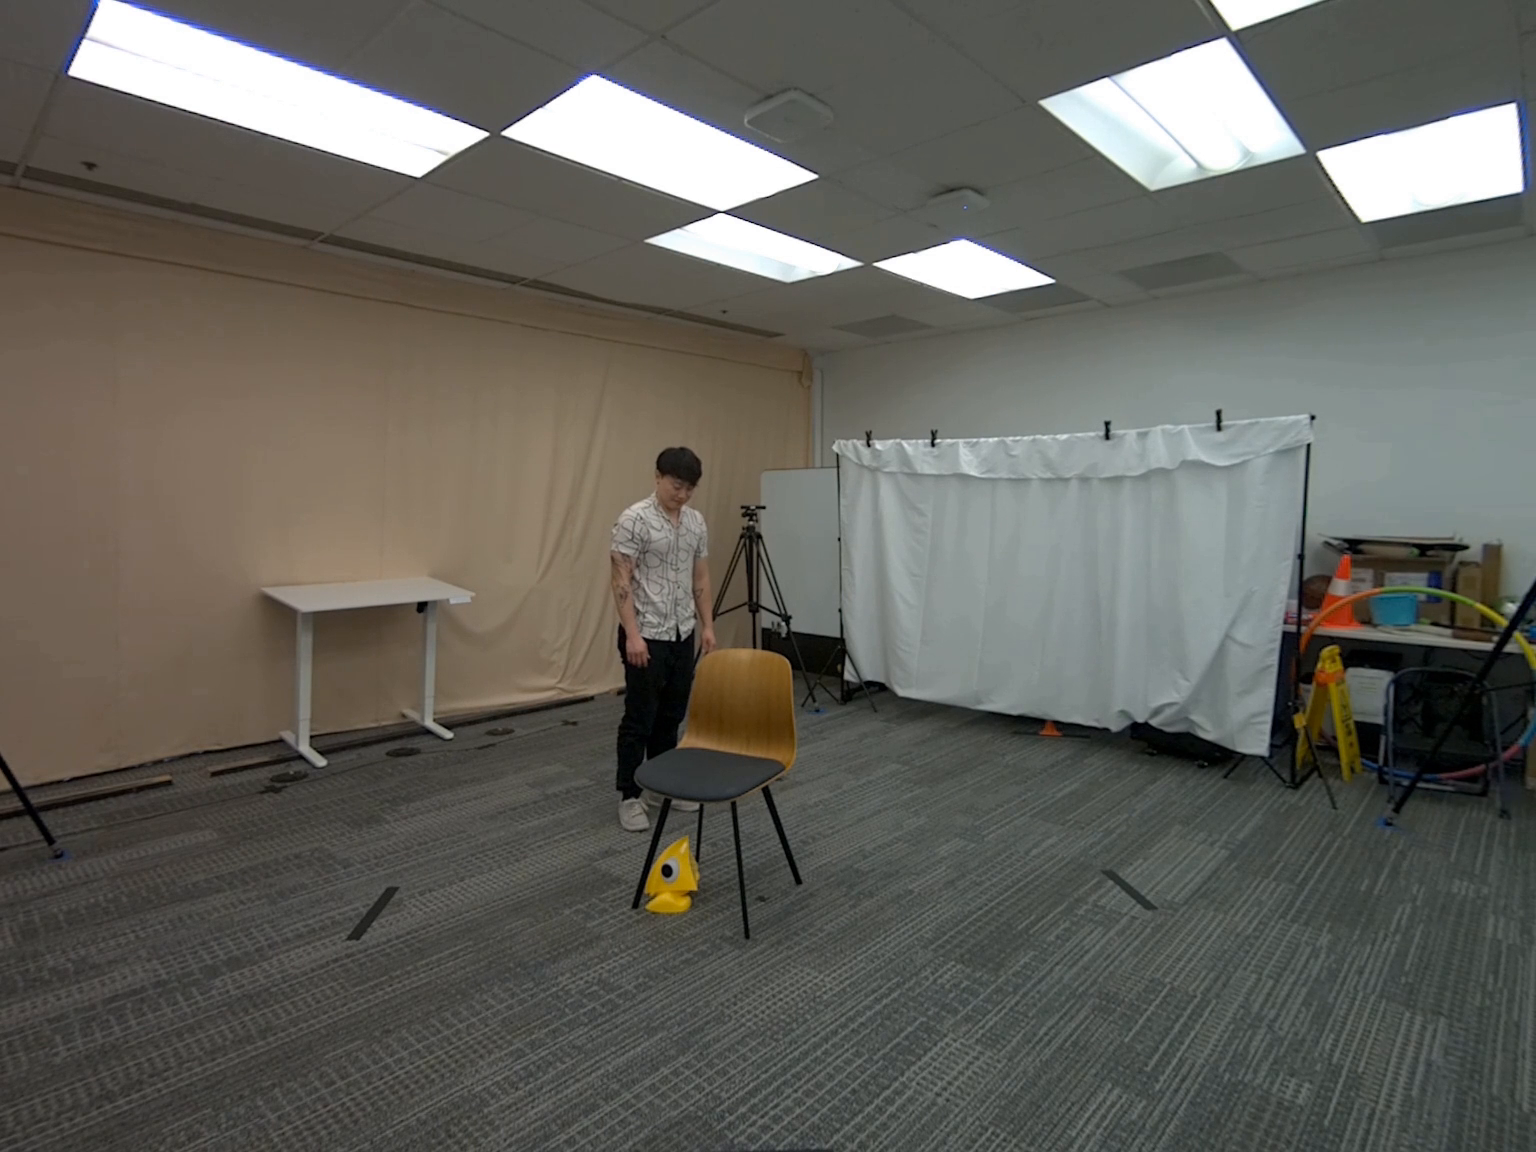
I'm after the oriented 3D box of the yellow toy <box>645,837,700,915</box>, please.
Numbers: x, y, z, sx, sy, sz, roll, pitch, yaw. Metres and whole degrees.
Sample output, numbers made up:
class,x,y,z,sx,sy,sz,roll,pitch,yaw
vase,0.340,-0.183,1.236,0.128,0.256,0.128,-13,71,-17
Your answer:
class,x,y,z,sx,sy,sz,roll,pitch,yaw
yellow toy,-0.342,1.031,2.976,0.193,0.230,0.205,1,3,-3
